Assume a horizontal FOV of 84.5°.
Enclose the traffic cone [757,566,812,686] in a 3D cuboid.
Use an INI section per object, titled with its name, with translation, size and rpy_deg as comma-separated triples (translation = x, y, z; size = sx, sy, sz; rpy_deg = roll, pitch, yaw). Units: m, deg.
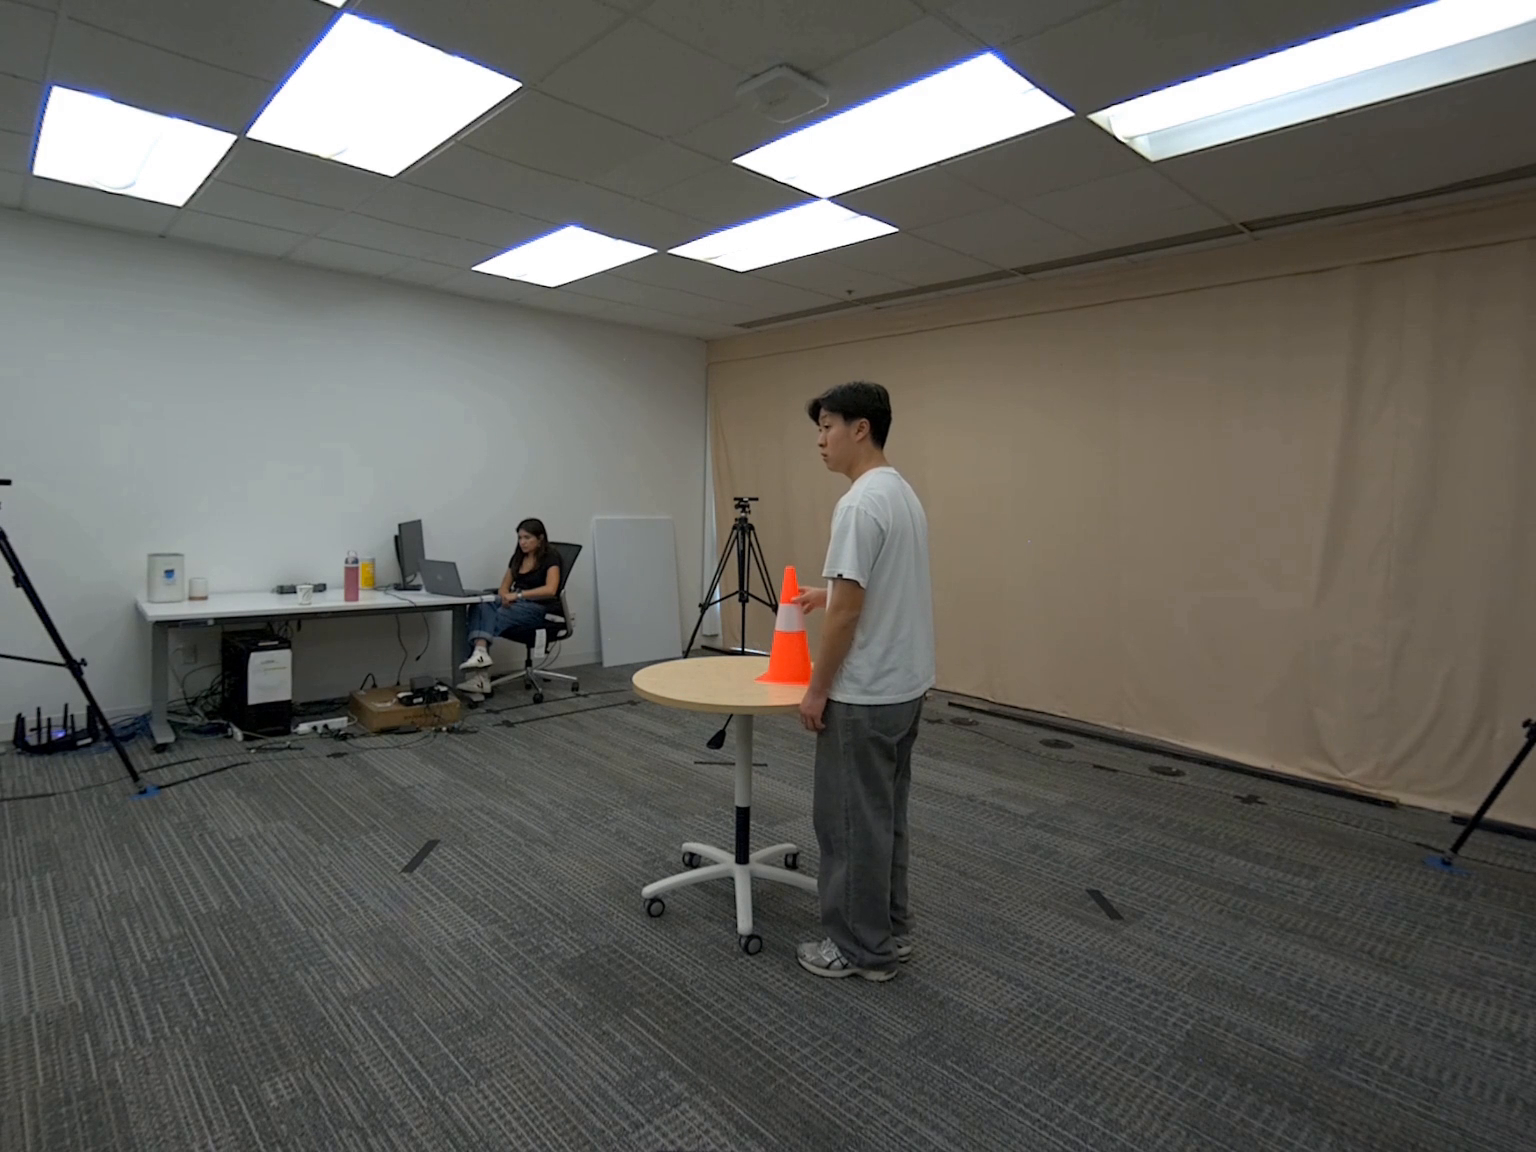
[traffic cone]
translation = 0.072, 0.163, 2.871
size = 0.207, 0.383, 0.201
rpy_deg = 3, 2, 24
